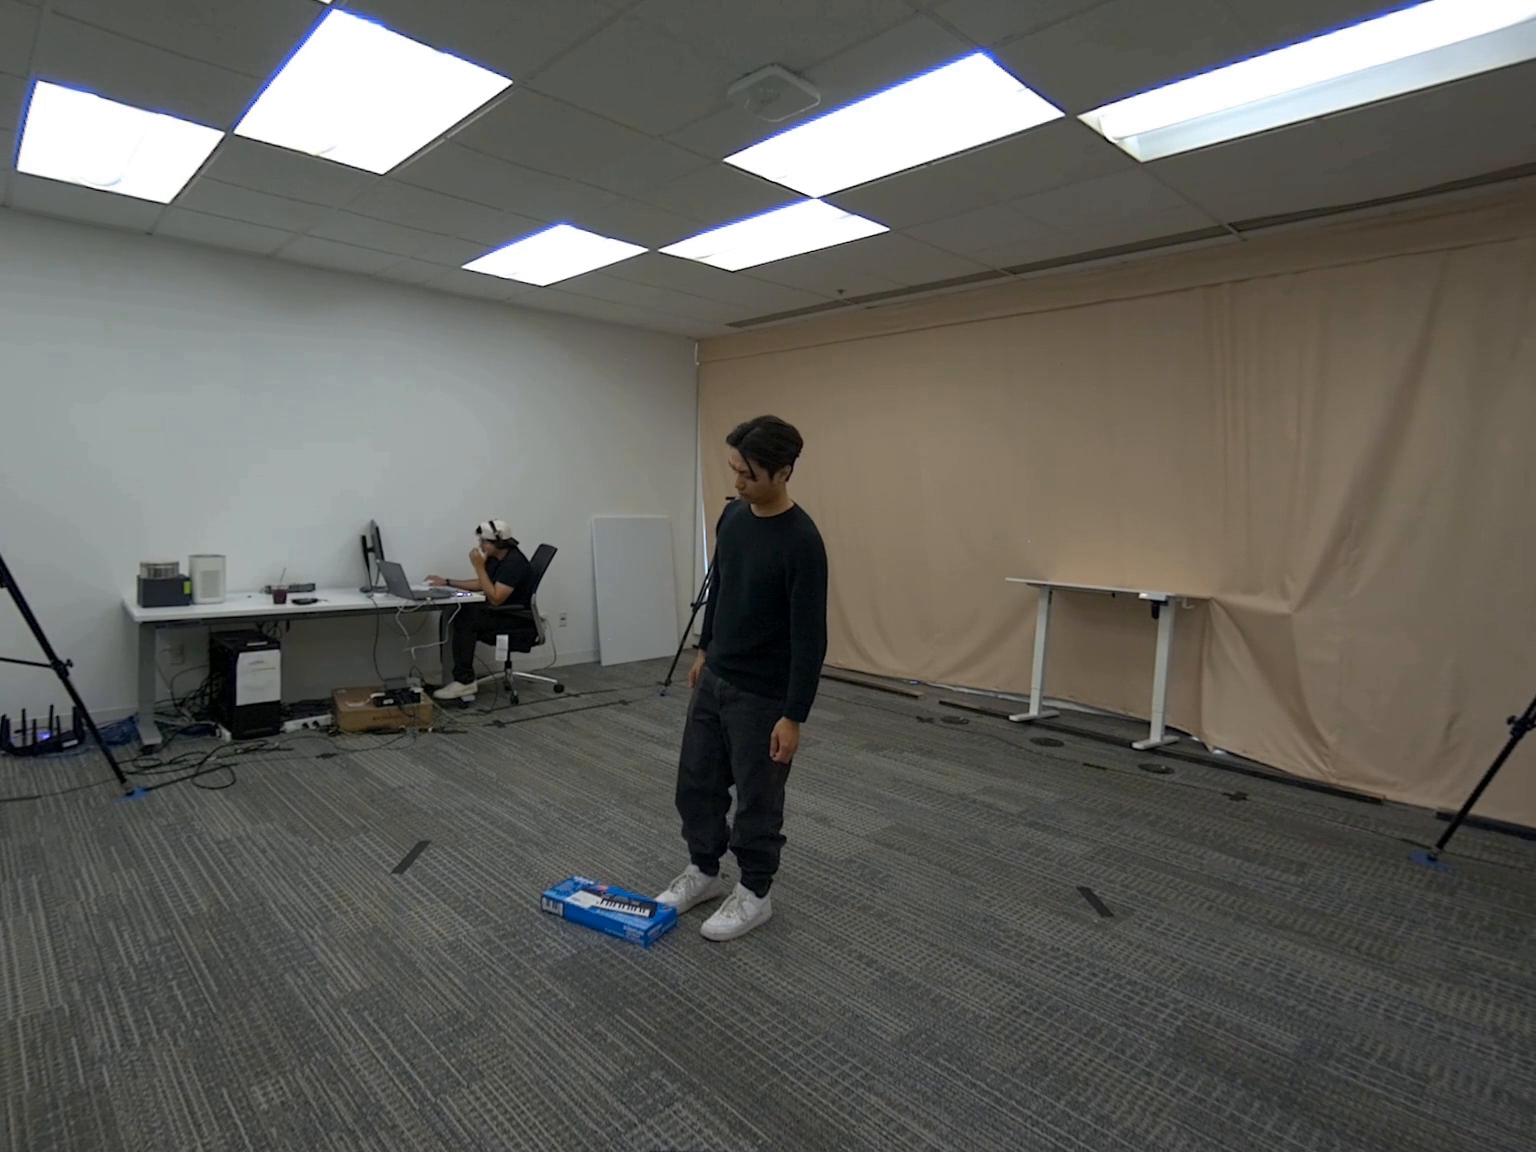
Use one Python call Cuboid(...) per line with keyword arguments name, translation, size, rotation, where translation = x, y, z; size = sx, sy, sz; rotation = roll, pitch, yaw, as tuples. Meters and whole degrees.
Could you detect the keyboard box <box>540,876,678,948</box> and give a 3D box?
Cuboid(name="keyboard box", translation=(-0.533, 1.094, 2.773), size=(0.446, 0.059, 0.173), rotation=(4, 6, 30))
